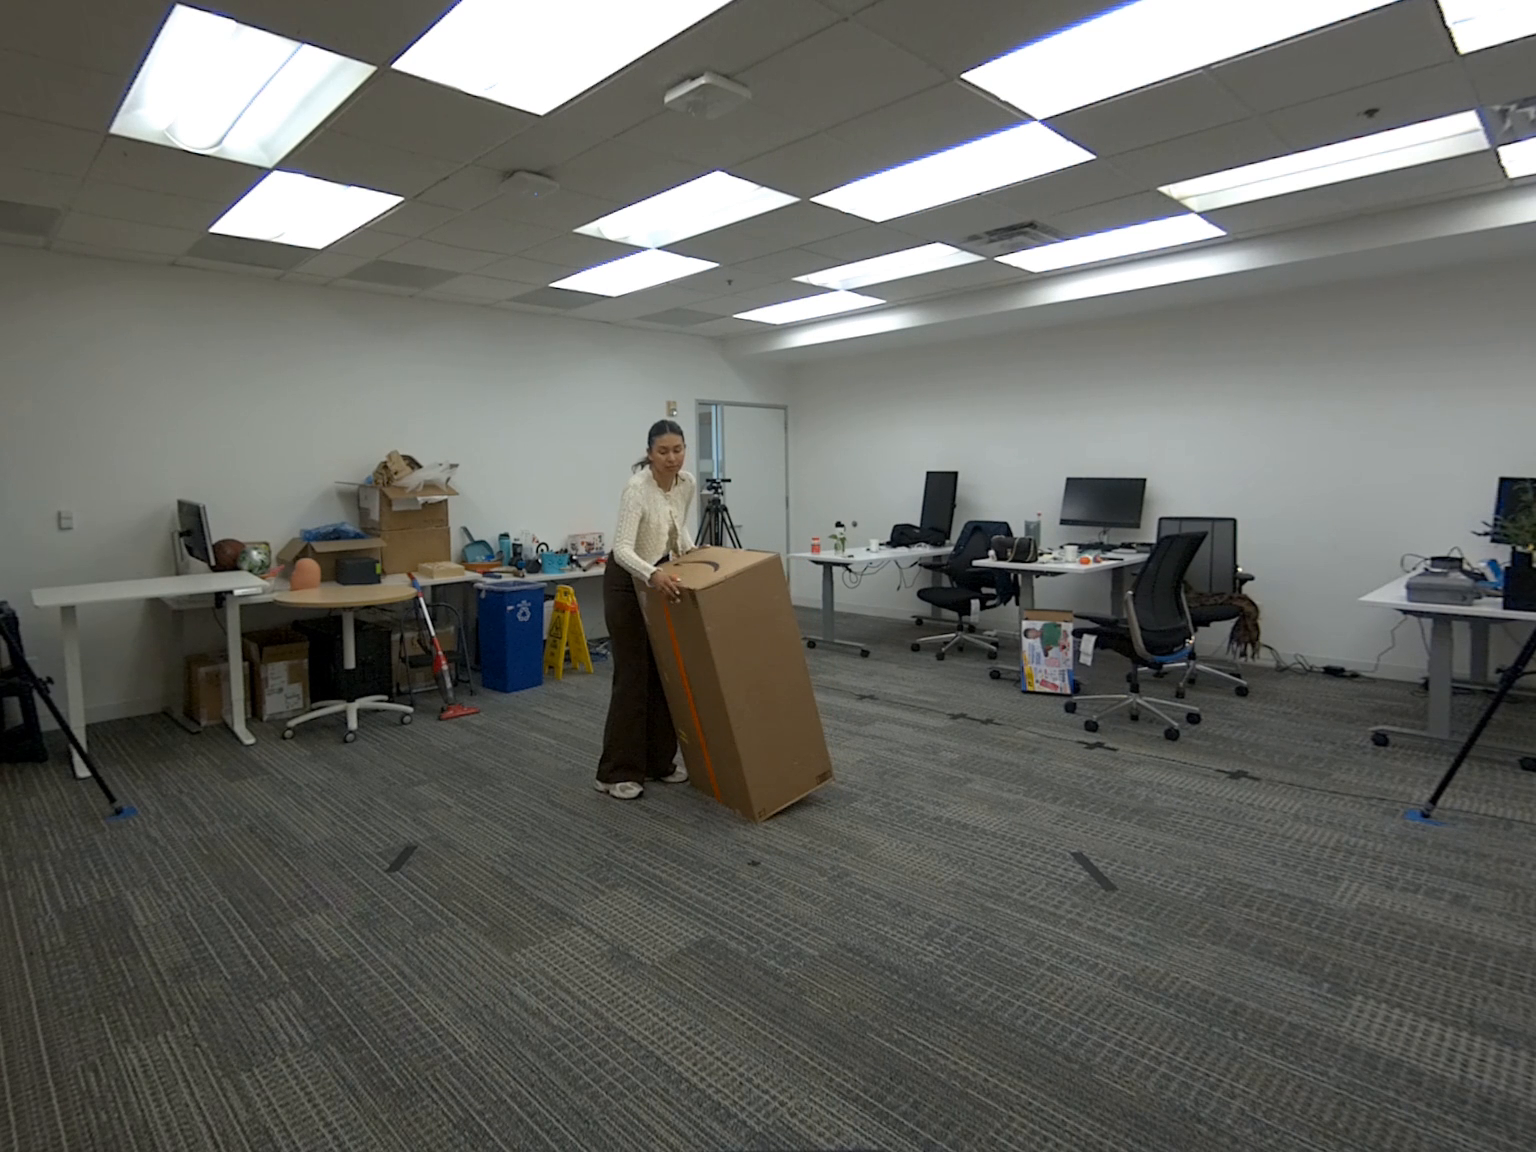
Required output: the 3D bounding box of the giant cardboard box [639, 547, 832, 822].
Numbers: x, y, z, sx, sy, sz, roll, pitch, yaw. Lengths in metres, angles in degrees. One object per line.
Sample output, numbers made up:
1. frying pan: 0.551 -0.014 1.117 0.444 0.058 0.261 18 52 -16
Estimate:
1. giant cardboard box: -0.156 0.436 3.700 0.420 1.013 0.593 -20 13 -29
